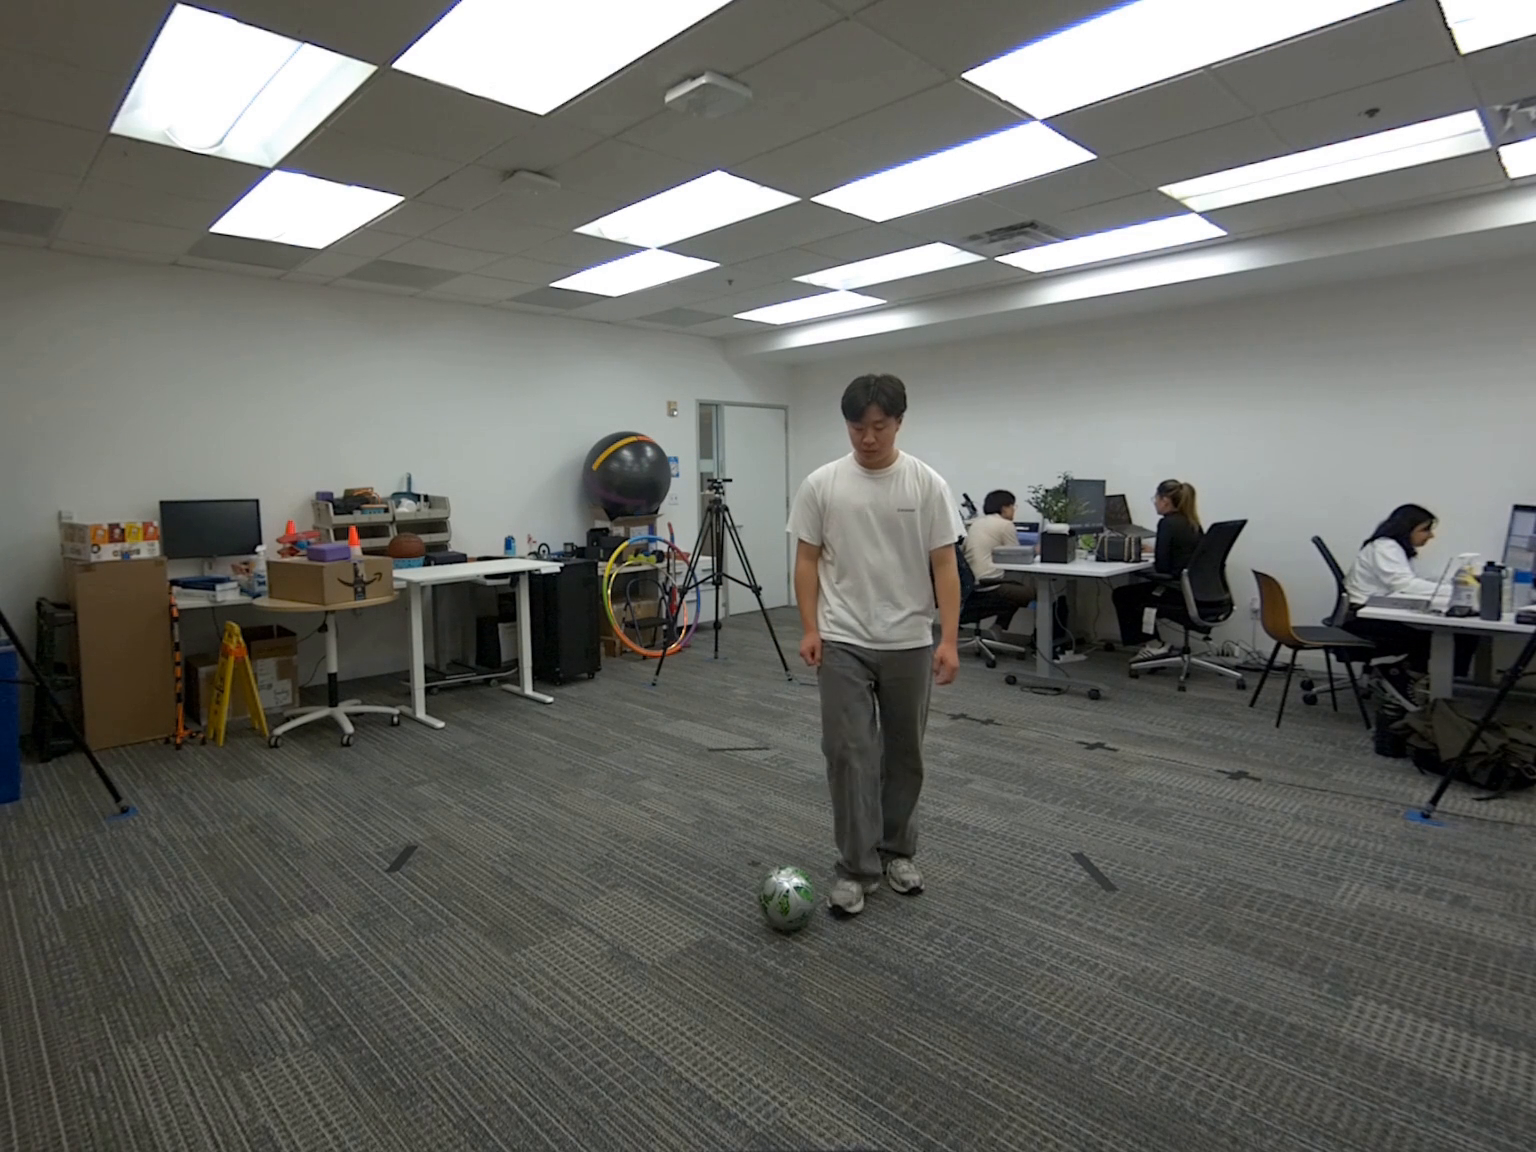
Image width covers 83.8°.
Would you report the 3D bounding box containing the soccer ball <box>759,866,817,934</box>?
[{"bbox_3d":[0.067,1.003,2.666,0.187,0.187,0.188,-1,5,-2],"label":"soccer ball"}]
